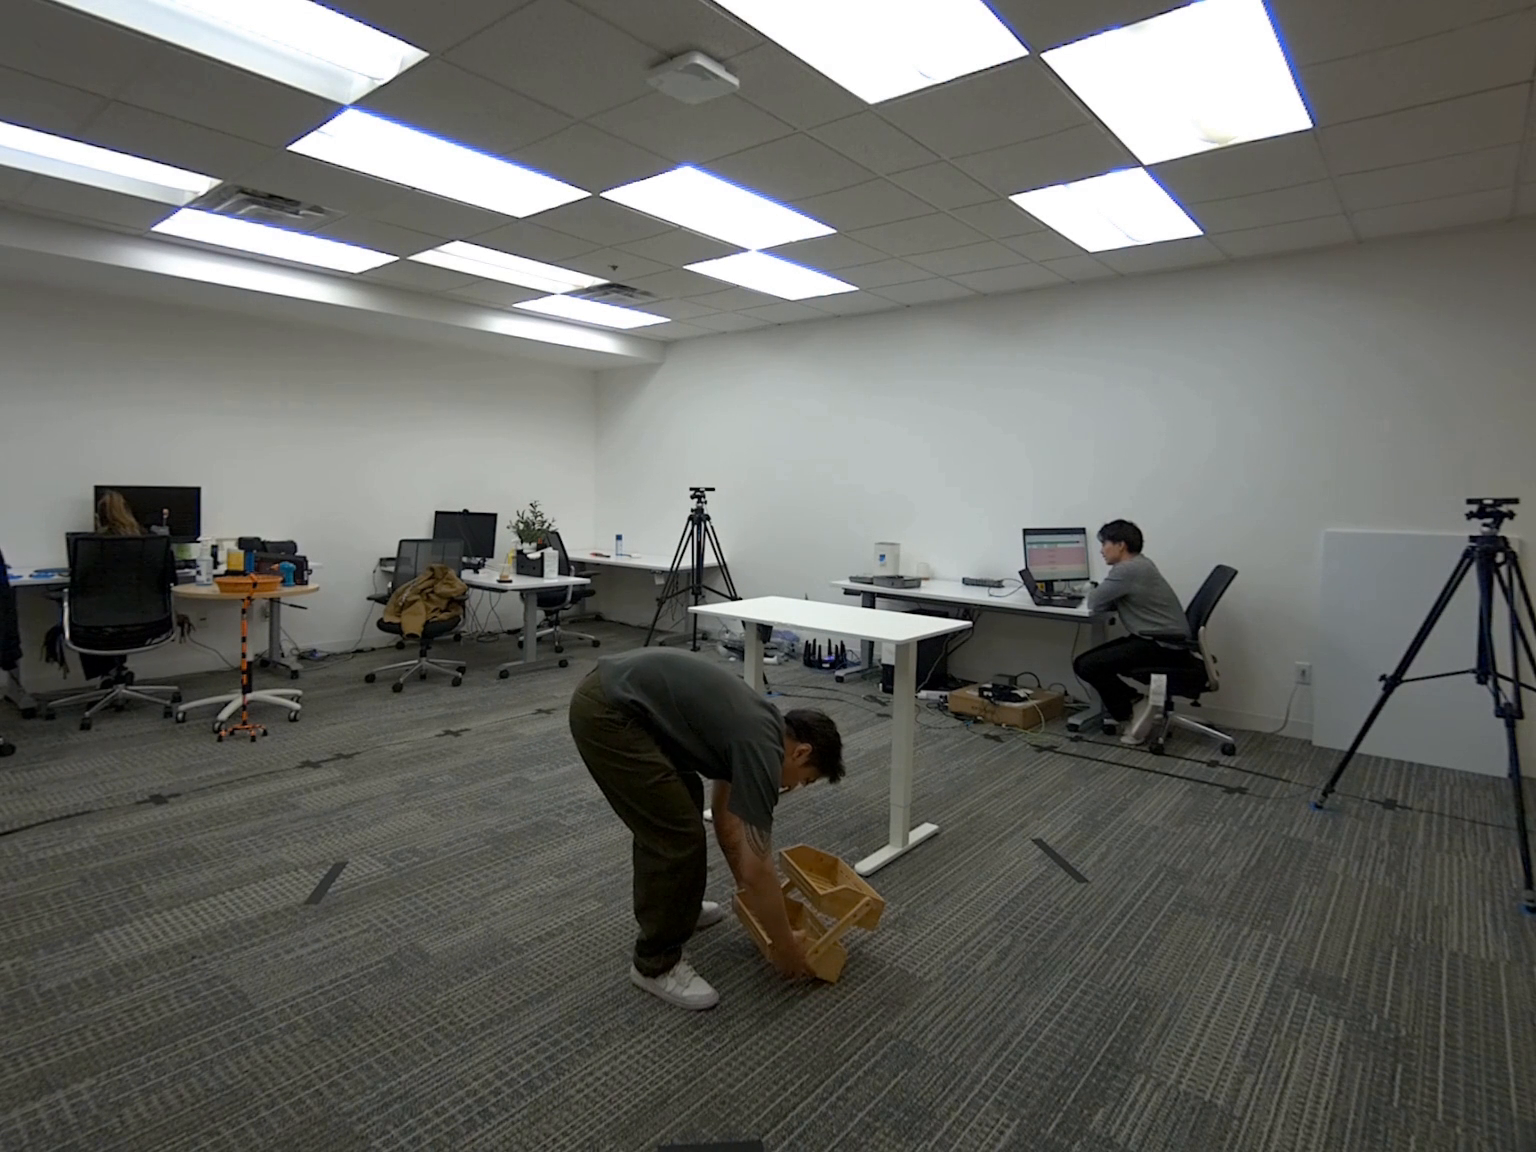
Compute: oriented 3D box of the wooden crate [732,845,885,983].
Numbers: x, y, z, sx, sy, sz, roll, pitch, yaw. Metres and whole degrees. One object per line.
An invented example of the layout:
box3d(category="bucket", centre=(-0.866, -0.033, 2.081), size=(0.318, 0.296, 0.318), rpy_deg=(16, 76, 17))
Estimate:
box3d(category="wooden crate", centre=(0.119, 0.978, 2.523), size=(0.294, 0.274, 0.332), rpy_deg=(26, -5, -22))
